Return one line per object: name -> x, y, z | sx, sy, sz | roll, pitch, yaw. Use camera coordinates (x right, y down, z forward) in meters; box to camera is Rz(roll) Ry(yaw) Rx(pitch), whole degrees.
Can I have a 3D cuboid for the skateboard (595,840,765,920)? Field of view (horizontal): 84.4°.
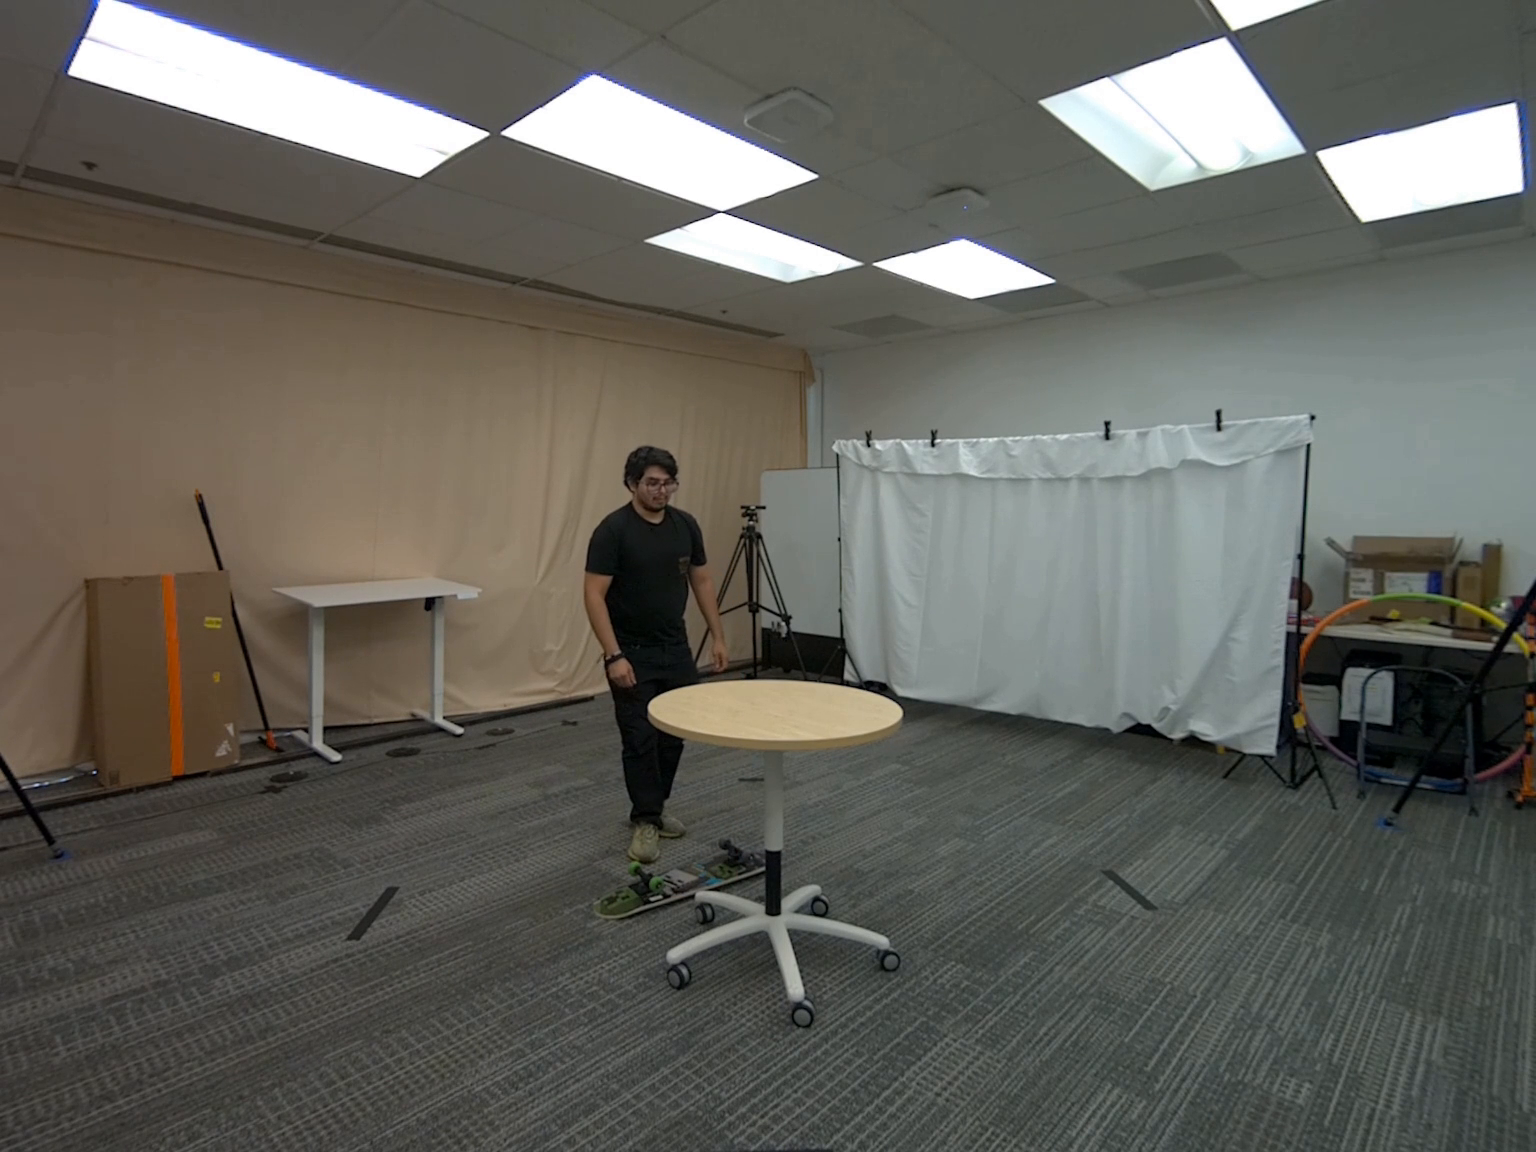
skateboard -> -0.278, 1.086, 3.090 | 0.763, 0.110, 0.199 | -4, 5, -36
